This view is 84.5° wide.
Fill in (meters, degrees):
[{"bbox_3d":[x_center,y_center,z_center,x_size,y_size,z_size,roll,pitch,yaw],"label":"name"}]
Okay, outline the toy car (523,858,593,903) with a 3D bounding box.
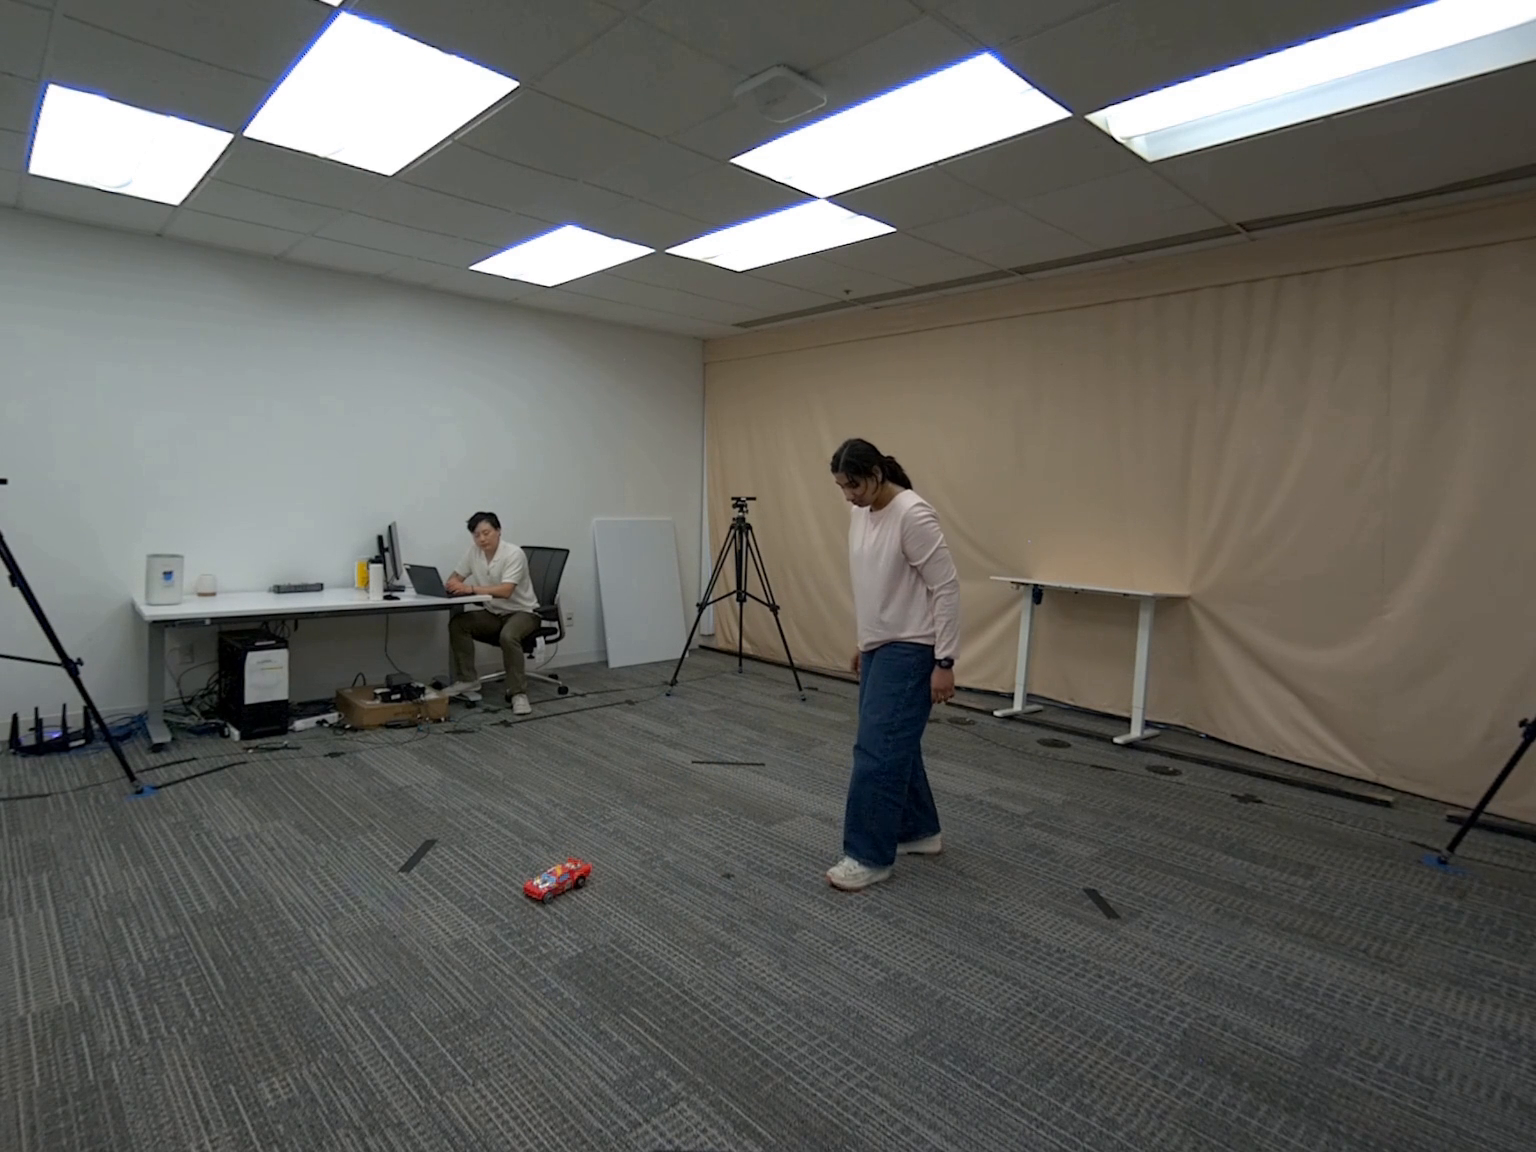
[{"bbox_3d":[-0.745,1.076,2.966,0.133,0.082,0.251,5,17,37],"label":"toy car"}]
